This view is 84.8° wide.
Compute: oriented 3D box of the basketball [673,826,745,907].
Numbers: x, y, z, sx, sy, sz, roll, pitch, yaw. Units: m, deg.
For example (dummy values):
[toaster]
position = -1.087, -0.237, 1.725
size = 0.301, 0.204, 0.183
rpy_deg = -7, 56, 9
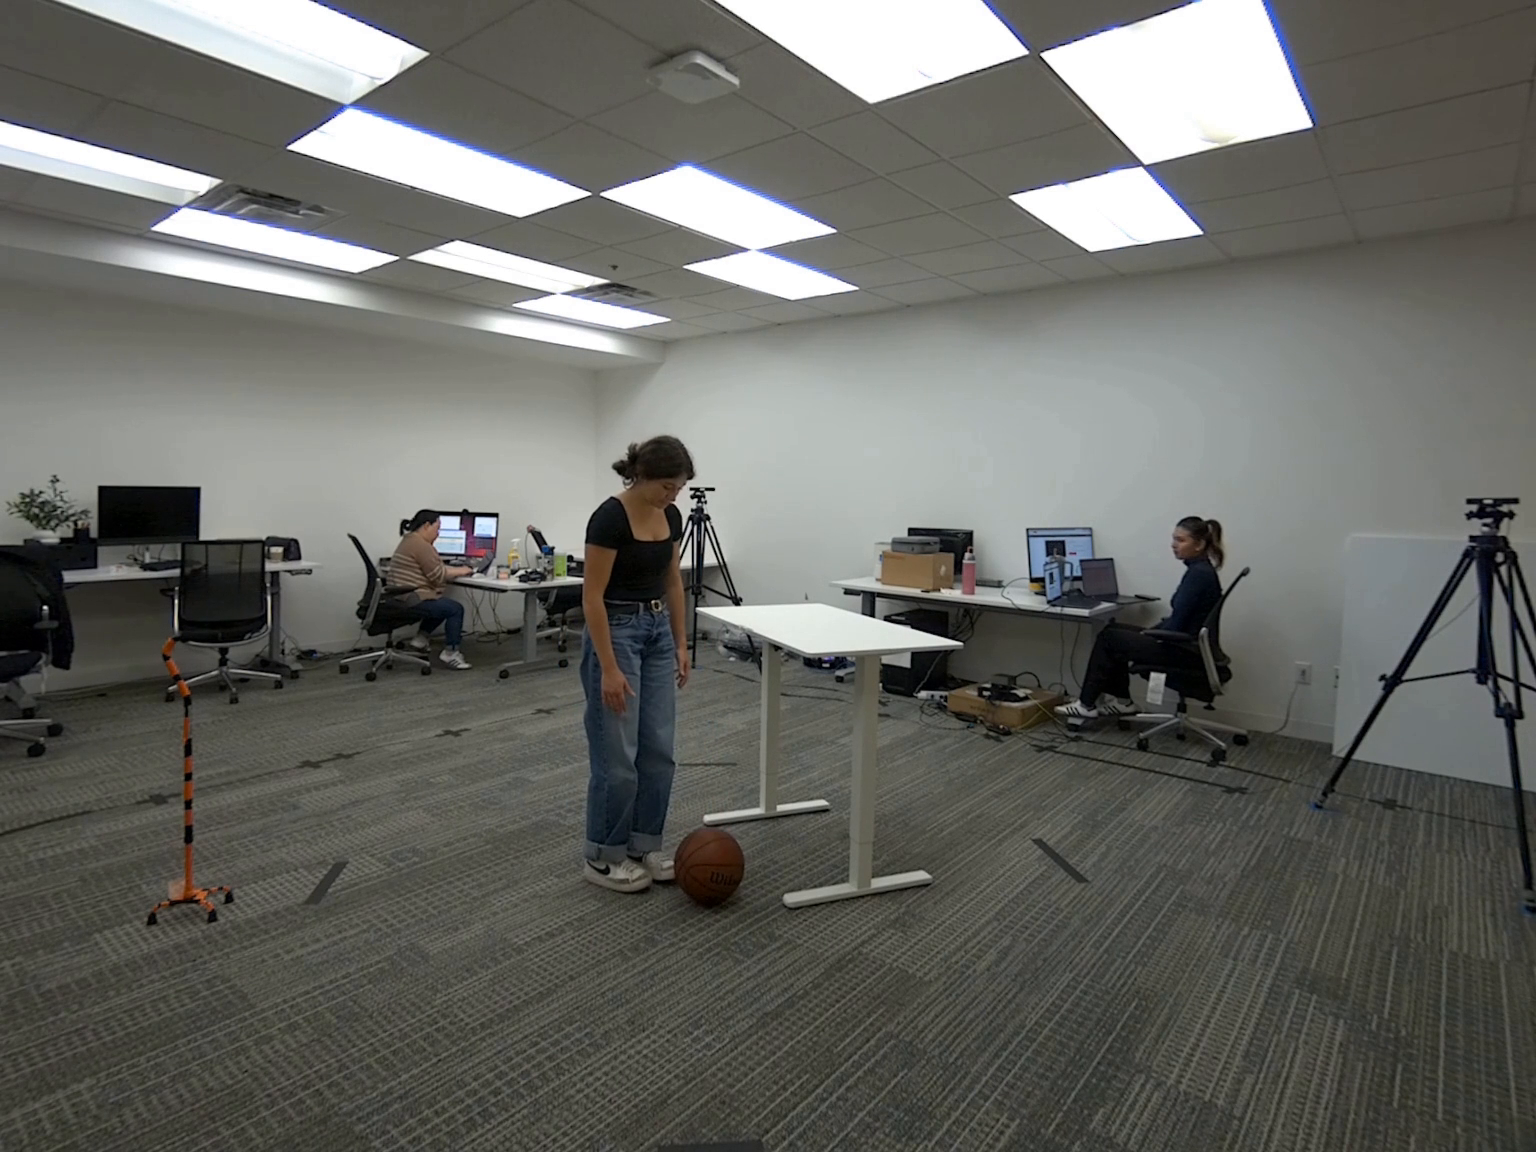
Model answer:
[basketball]
position = -0.212, 0.967, 2.866
size = 0.235, 0.235, 0.237
rpy_deg = 1, 4, -2
